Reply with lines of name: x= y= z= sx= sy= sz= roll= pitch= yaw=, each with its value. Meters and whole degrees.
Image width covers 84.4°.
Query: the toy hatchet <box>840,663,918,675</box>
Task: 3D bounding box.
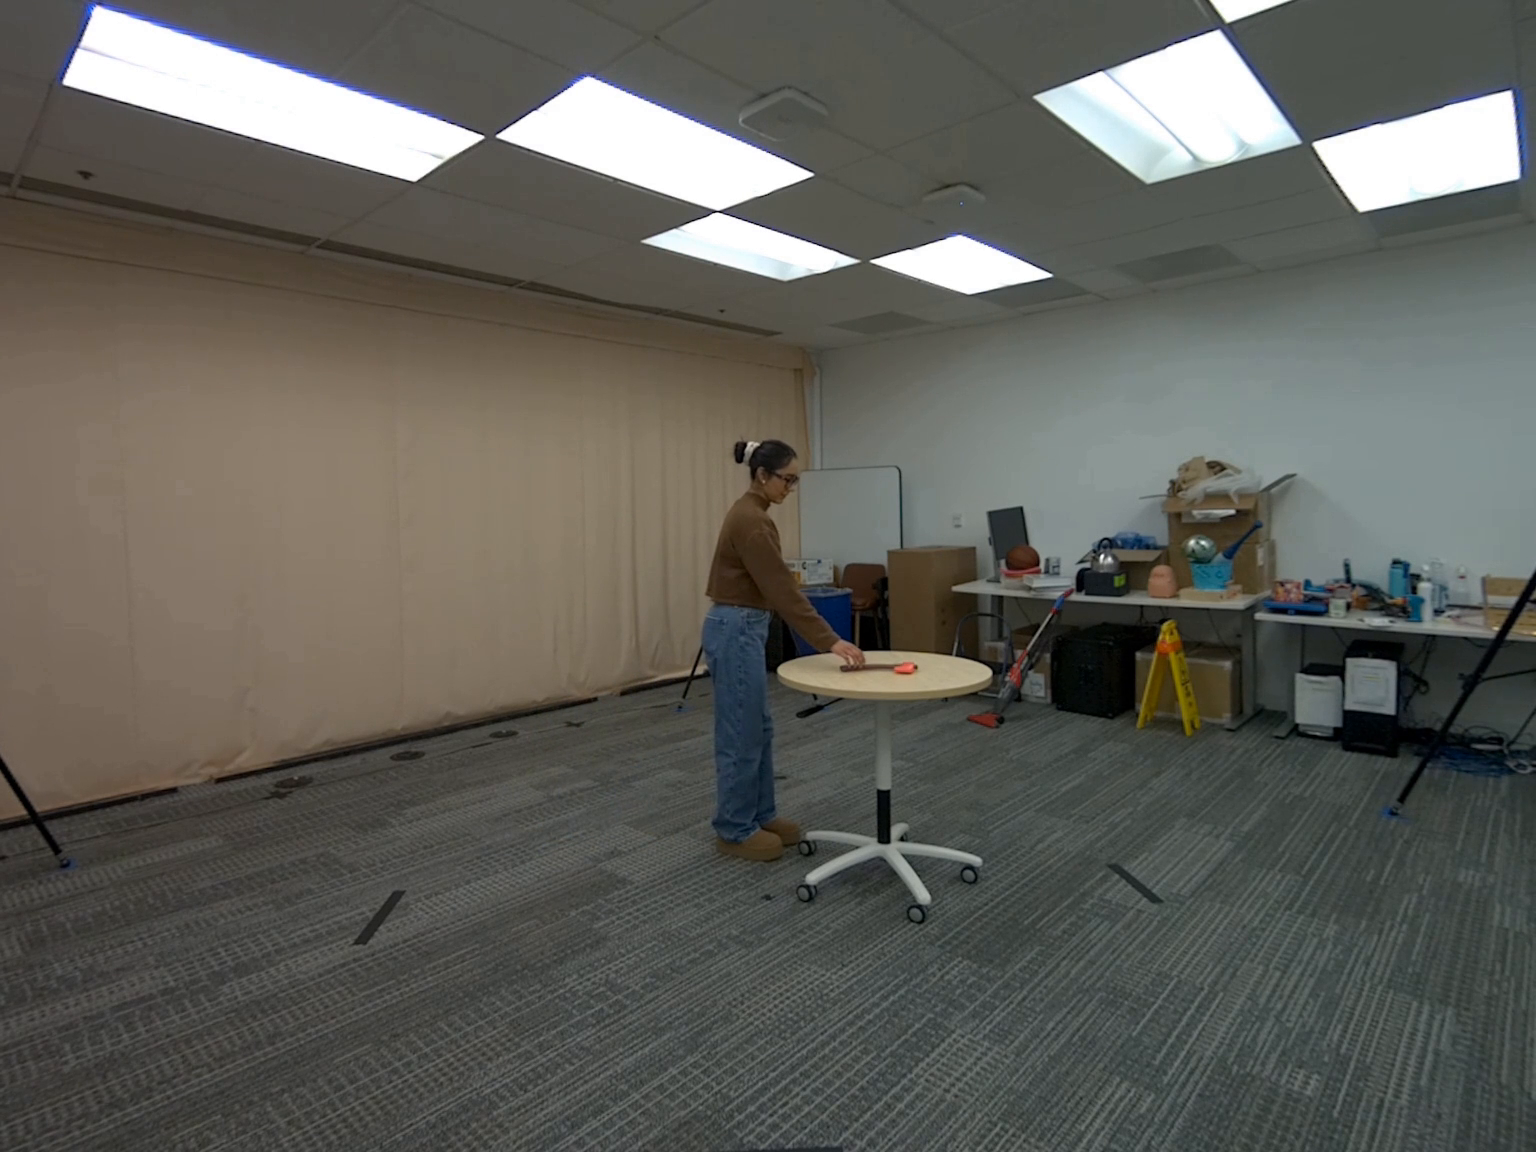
toy hatchet: x=0.407 y=0.337 z=3.009 sx=0.269 sy=0.029 sz=0.132 roll=-4 pitch=9 yaw=-5
